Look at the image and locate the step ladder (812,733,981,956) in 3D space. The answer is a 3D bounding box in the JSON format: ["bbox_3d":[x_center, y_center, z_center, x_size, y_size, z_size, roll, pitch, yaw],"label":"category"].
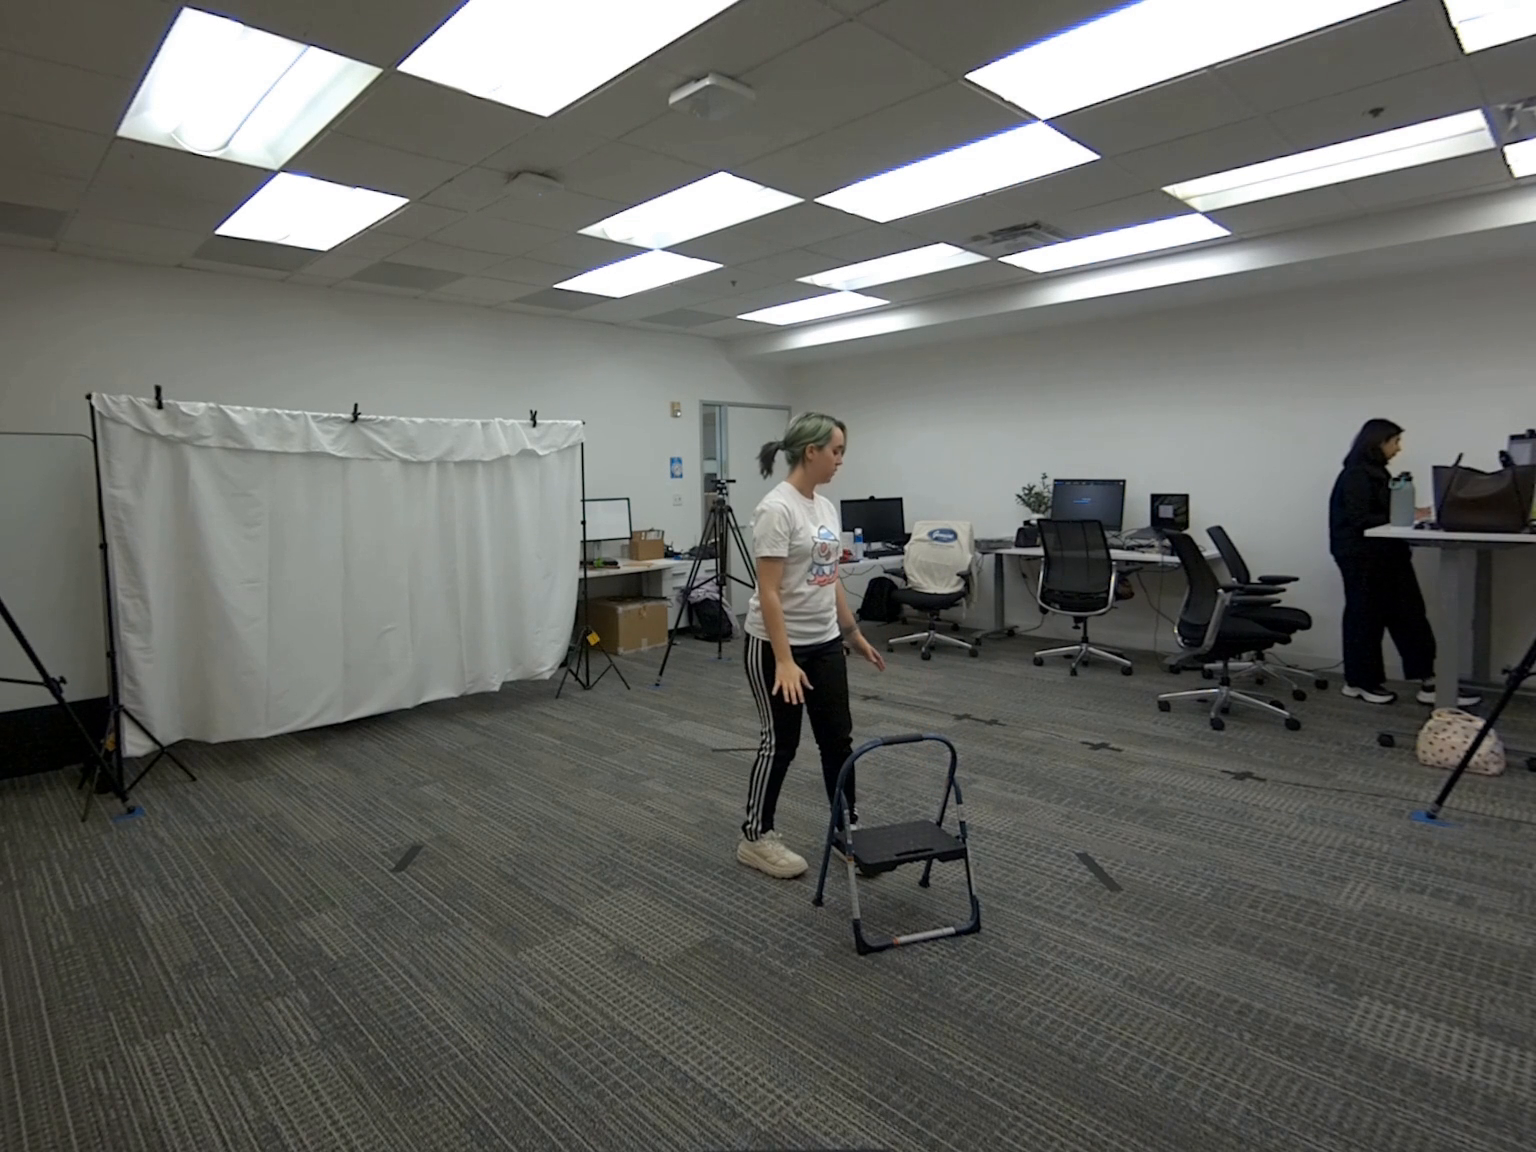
[{"bbox_3d":[0.402,0.783,2.698,0.423,0.604,0.356,-2,5,-19],"label":"step ladder"}]
